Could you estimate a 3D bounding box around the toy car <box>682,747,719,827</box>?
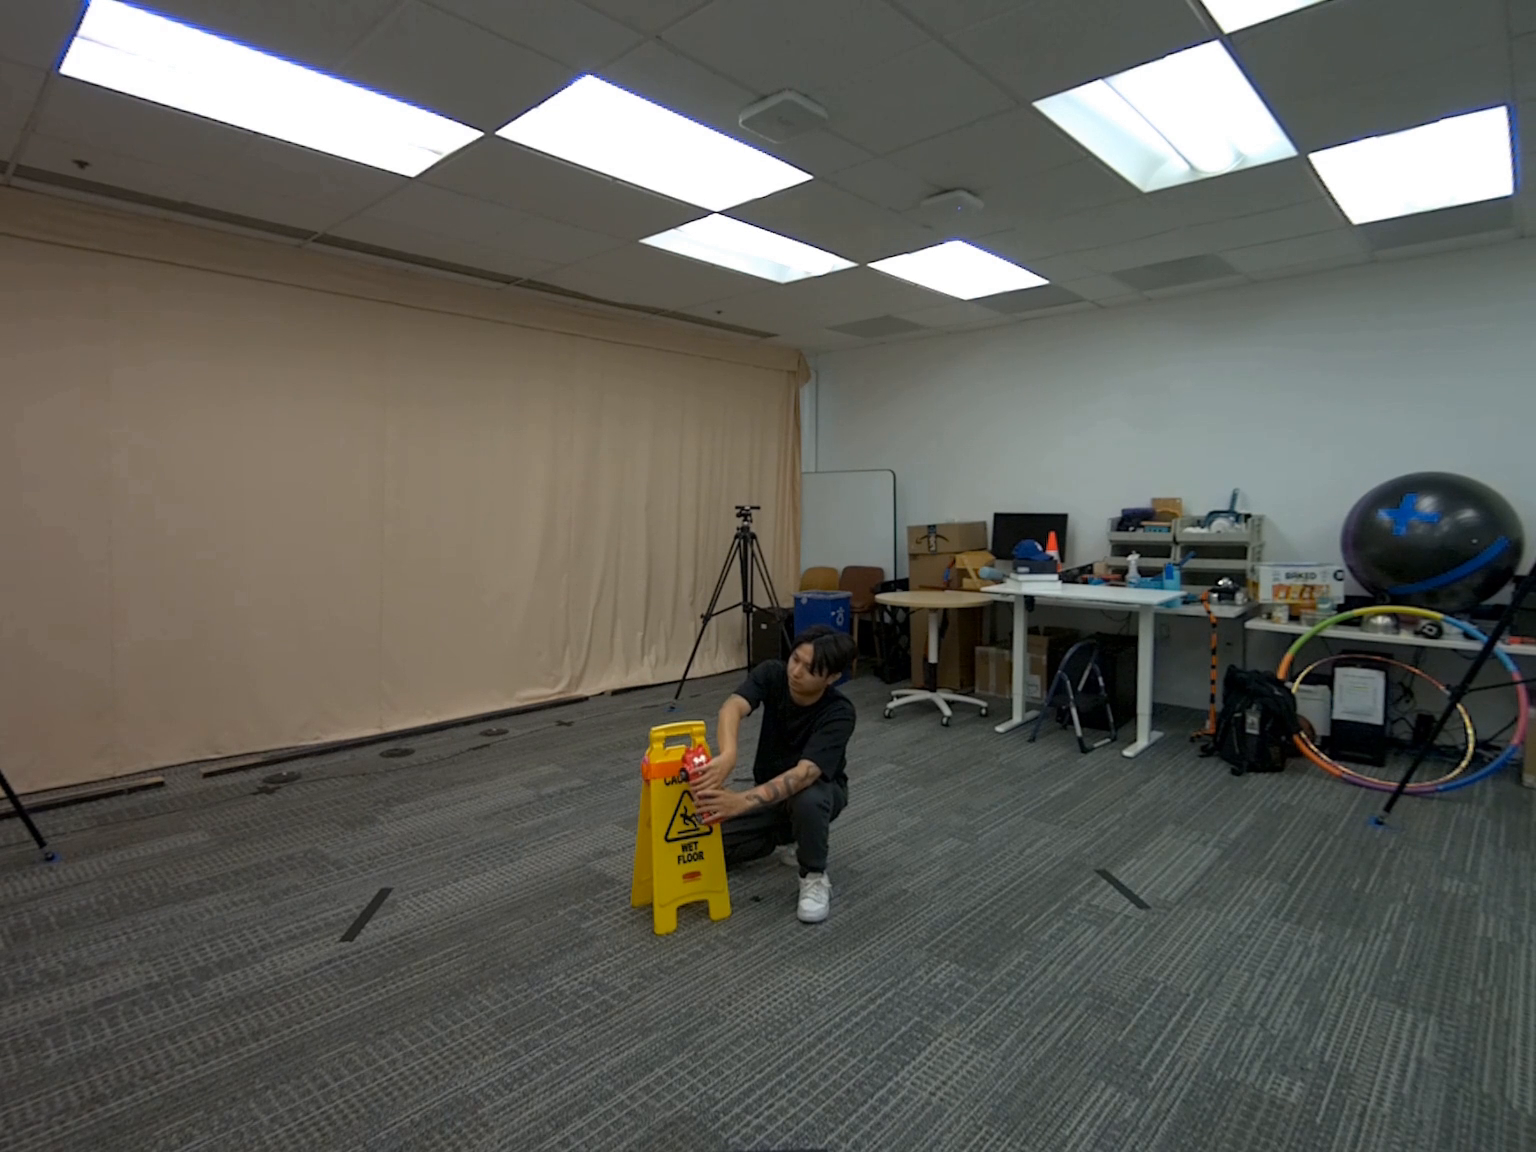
[{"bbox_3d":[-0.210,0.673,2.744,0.127,0.256,0.085,-10,-8,-36],"label":"toy car"}]
